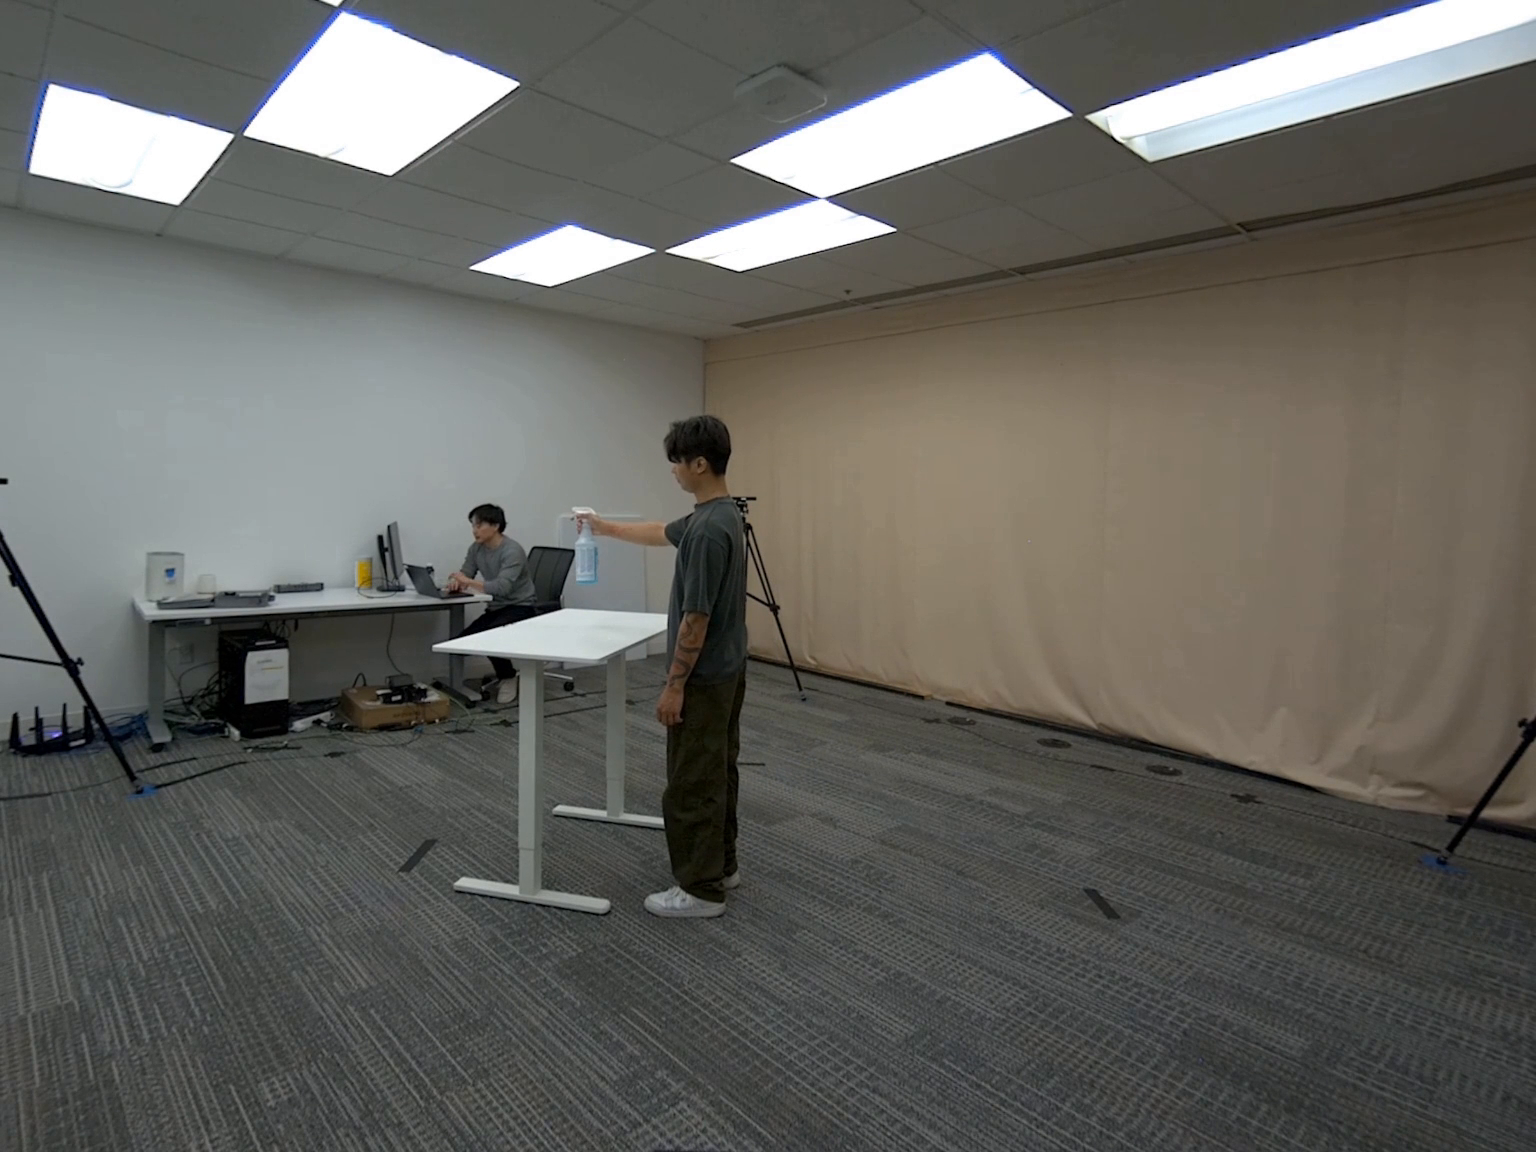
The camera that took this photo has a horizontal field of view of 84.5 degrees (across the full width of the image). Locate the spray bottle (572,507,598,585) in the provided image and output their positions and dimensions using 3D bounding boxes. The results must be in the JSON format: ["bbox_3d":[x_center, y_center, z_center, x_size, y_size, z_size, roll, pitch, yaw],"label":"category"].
[{"bbox_3d":[-0.706,-0.118,3.254,0.092,0.297,0.085,1,1,30],"label":"spray bottle"}]
